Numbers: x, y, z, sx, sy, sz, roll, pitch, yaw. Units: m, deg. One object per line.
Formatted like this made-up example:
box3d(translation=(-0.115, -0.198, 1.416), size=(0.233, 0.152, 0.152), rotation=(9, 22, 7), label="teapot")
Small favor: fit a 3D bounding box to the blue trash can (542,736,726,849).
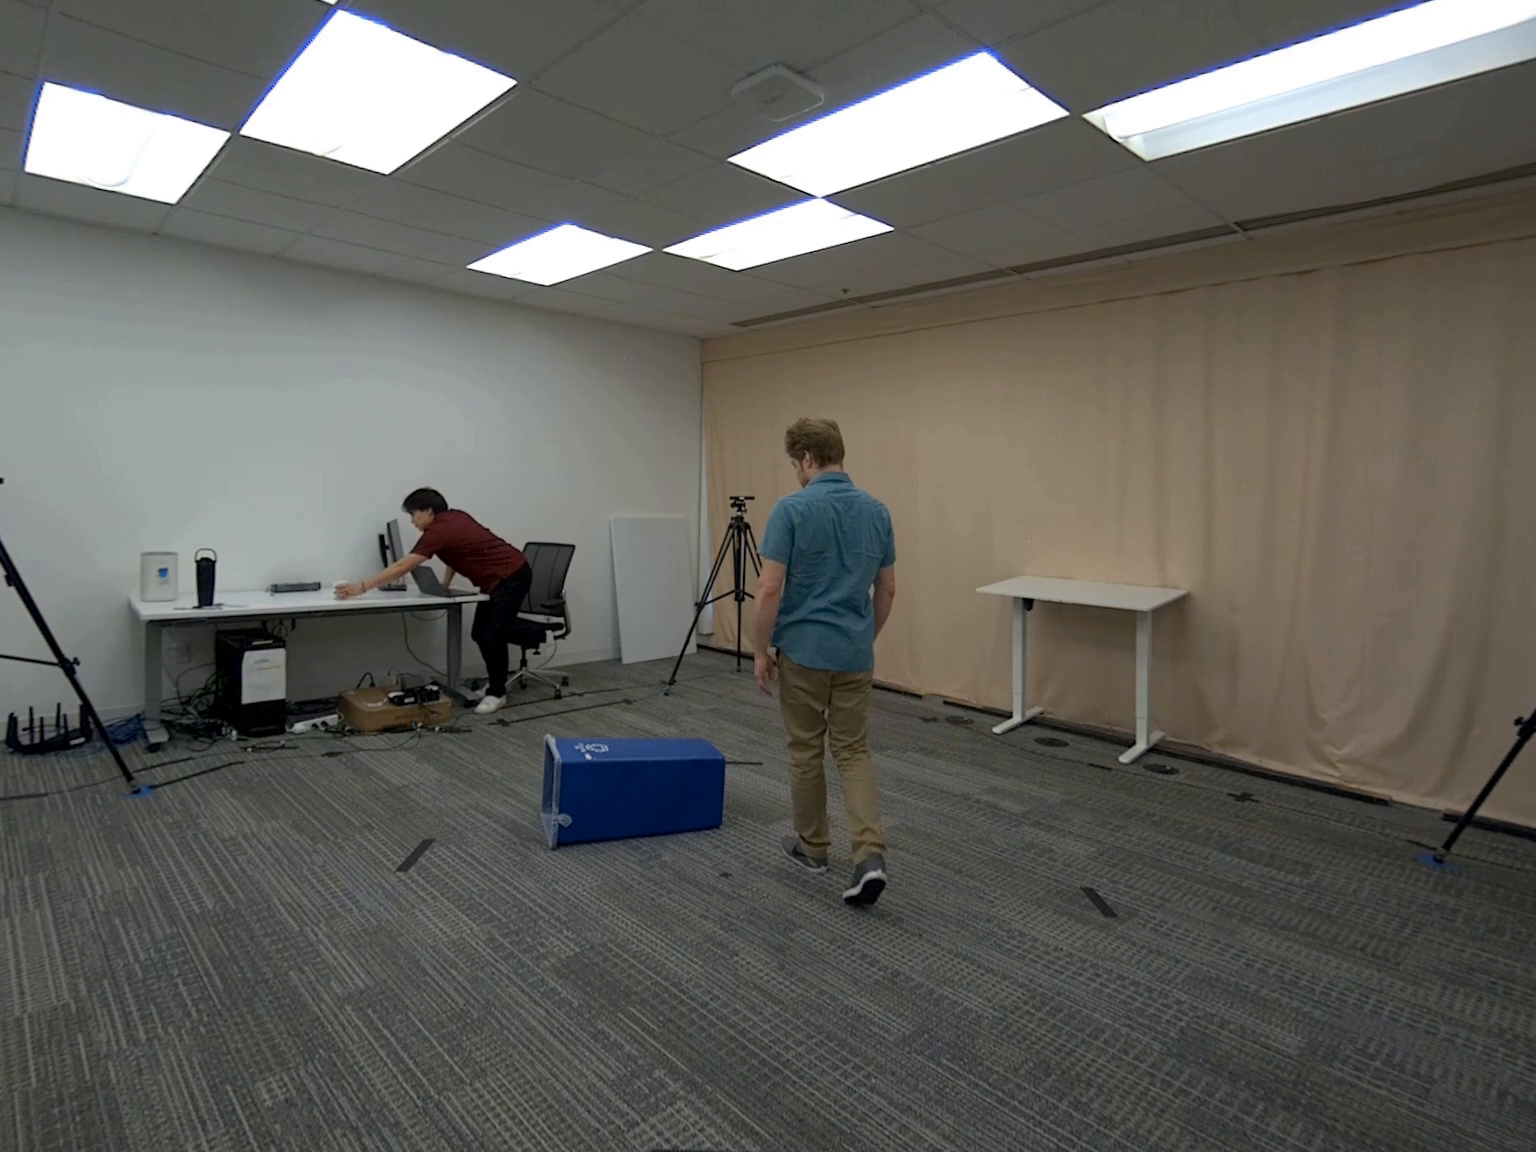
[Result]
box3d(translation=(-0.581, 0.887, 3.559), size=(0.702, 0.377, 0.381), rotation=(3, 3, -21), label="blue trash can")
